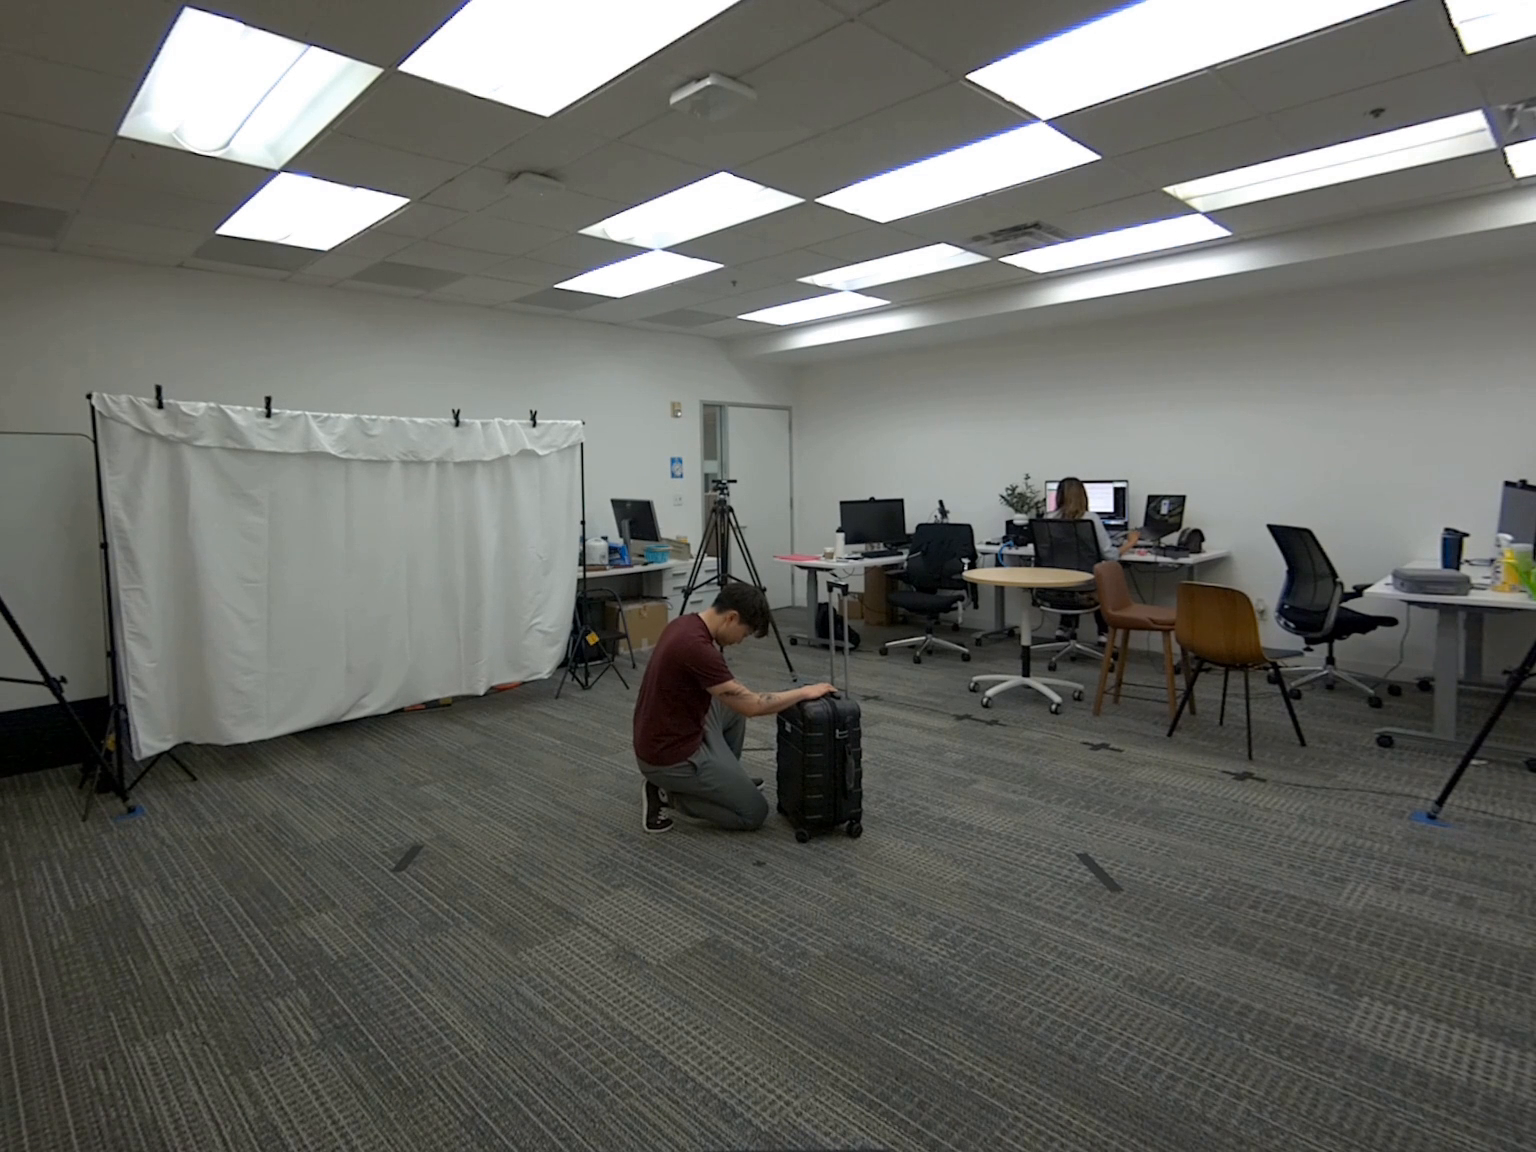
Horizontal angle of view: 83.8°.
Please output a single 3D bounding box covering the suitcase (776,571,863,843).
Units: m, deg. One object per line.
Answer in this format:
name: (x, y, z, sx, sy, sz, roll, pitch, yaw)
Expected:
suitcase: (0.197, 0.526, 3.422, 0.253, 0.976, 0.390, -2, 3, -15)
